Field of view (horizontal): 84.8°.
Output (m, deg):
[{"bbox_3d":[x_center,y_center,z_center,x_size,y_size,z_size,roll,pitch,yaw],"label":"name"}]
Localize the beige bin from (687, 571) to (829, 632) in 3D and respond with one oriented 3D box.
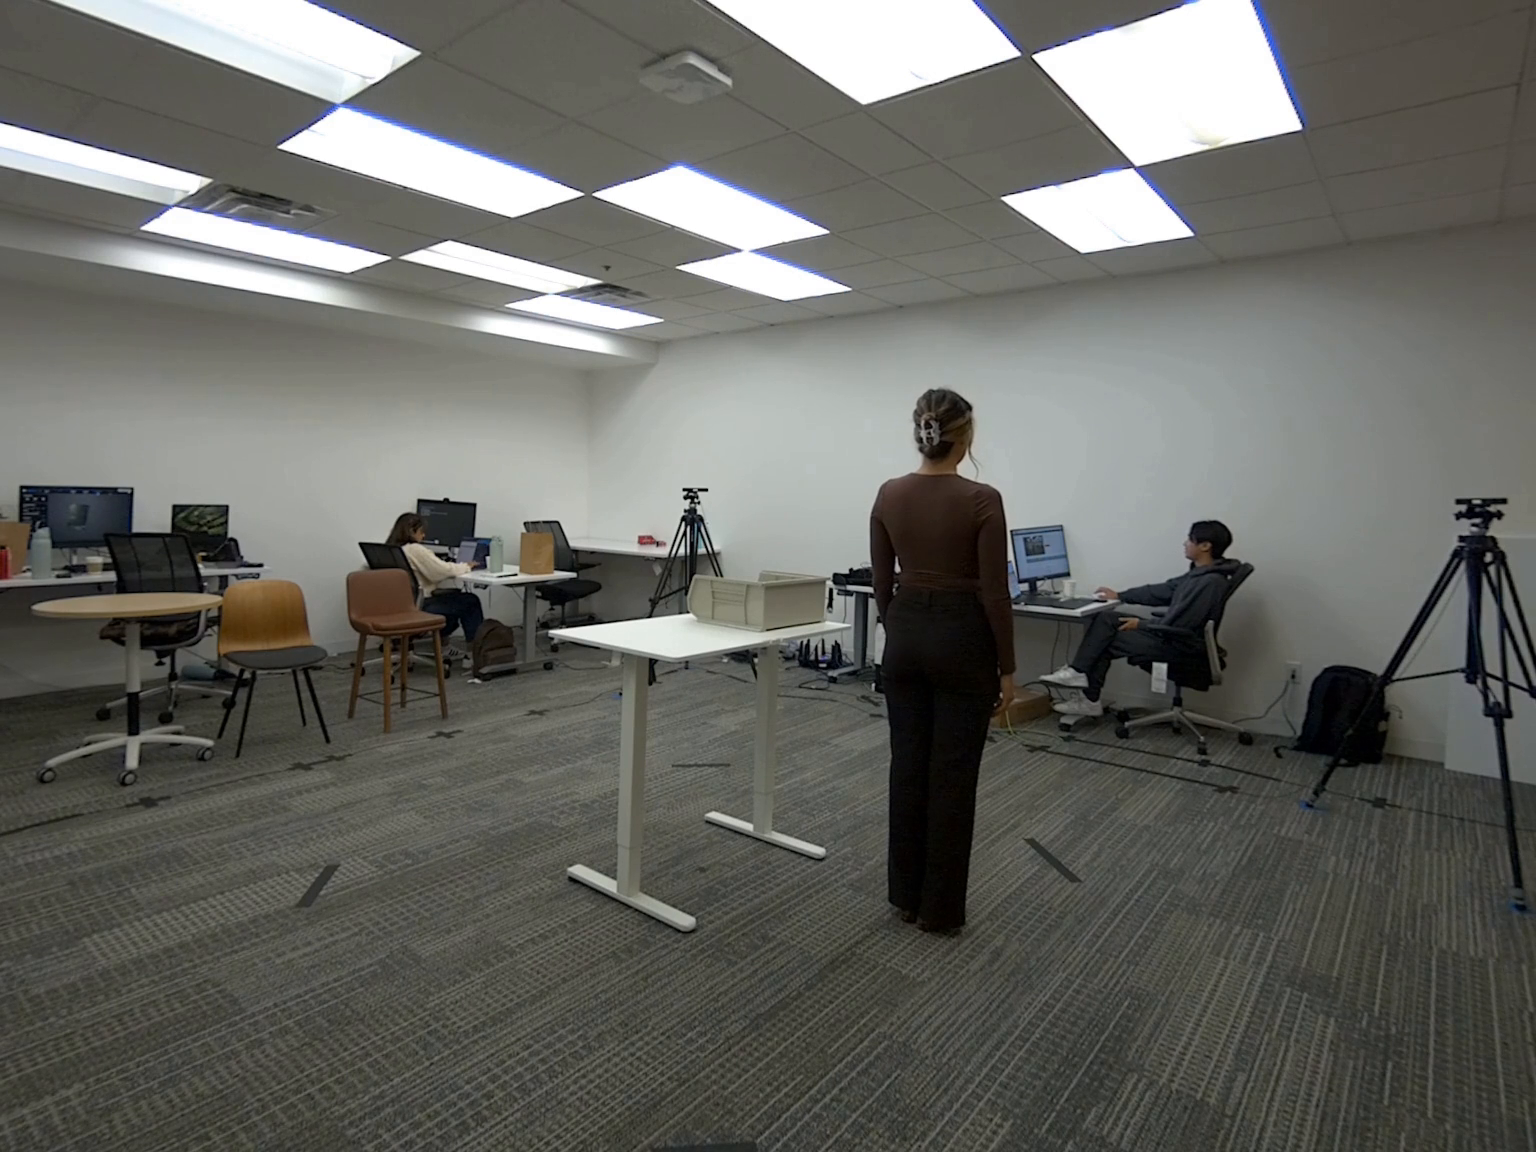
[{"bbox_3d":[-0.045,0.087,3.298,0.390,0.188,0.409,7,6,39],"label":"beige bin"}]
